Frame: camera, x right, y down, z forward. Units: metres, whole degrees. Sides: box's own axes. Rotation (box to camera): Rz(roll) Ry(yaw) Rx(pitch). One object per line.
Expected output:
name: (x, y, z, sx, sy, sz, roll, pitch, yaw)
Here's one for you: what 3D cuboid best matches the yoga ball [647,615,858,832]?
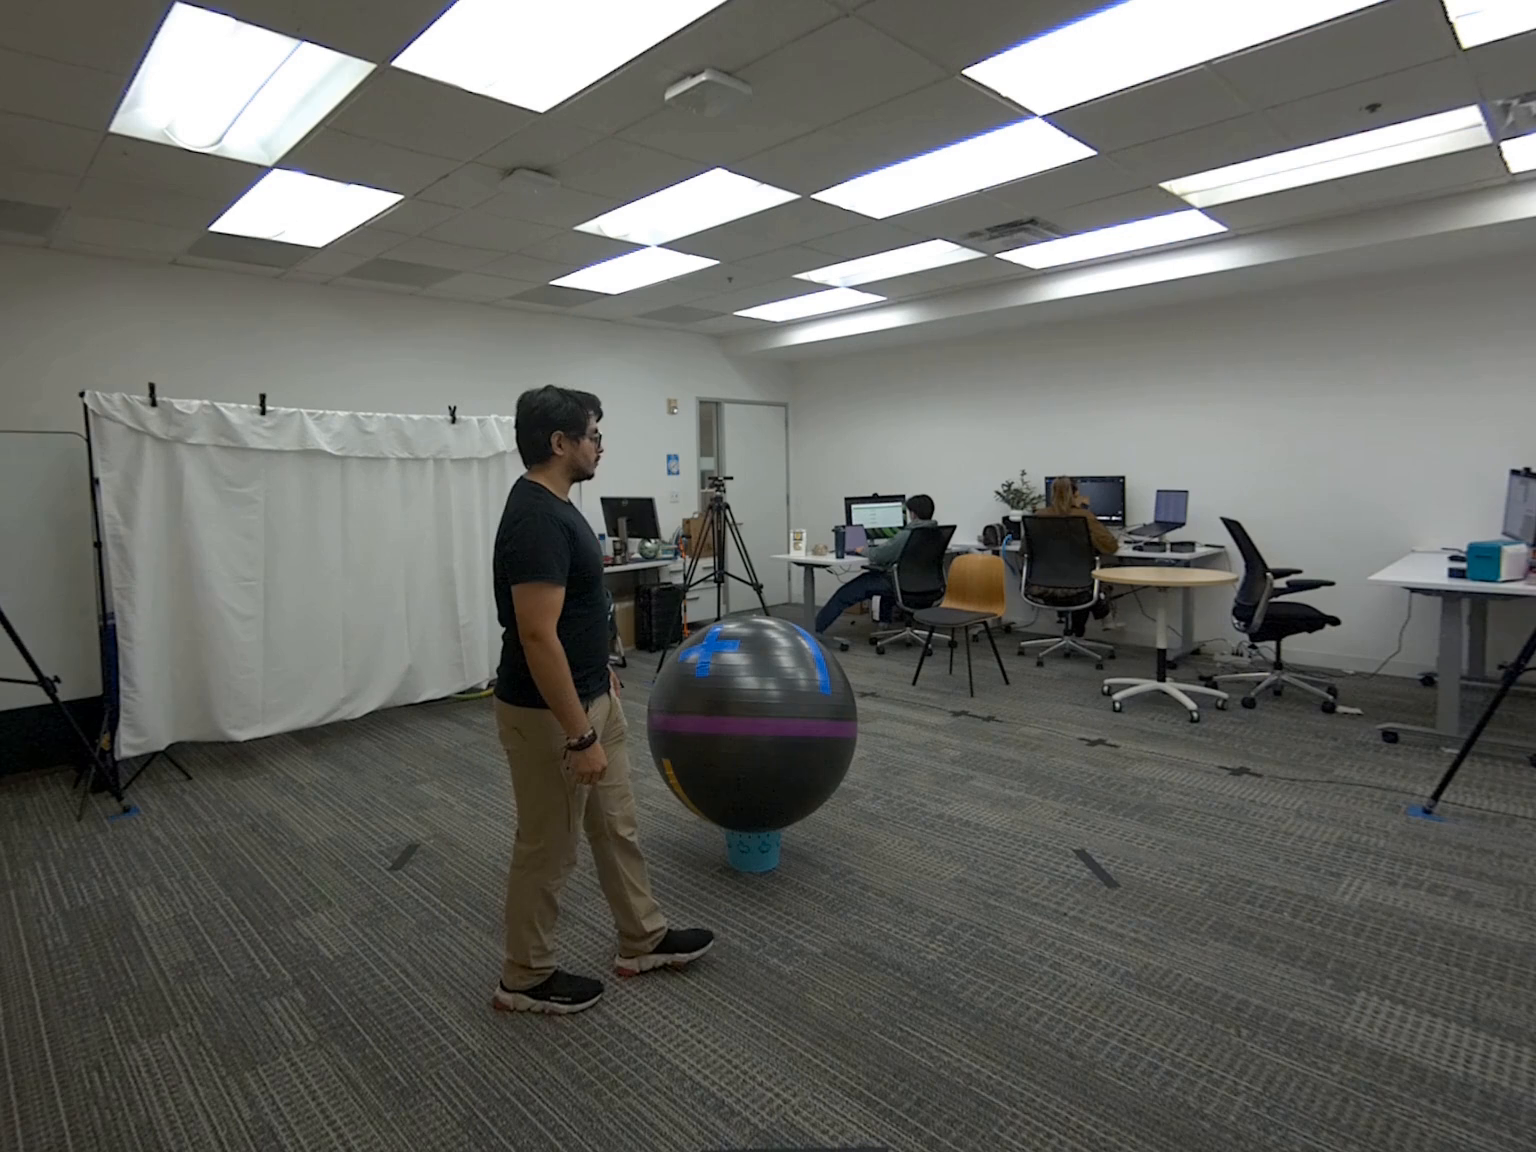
yoga ball: (-0.058, 0.527, 3.095, 0.757, 0.755, 0.762, -1, 5, -2)
